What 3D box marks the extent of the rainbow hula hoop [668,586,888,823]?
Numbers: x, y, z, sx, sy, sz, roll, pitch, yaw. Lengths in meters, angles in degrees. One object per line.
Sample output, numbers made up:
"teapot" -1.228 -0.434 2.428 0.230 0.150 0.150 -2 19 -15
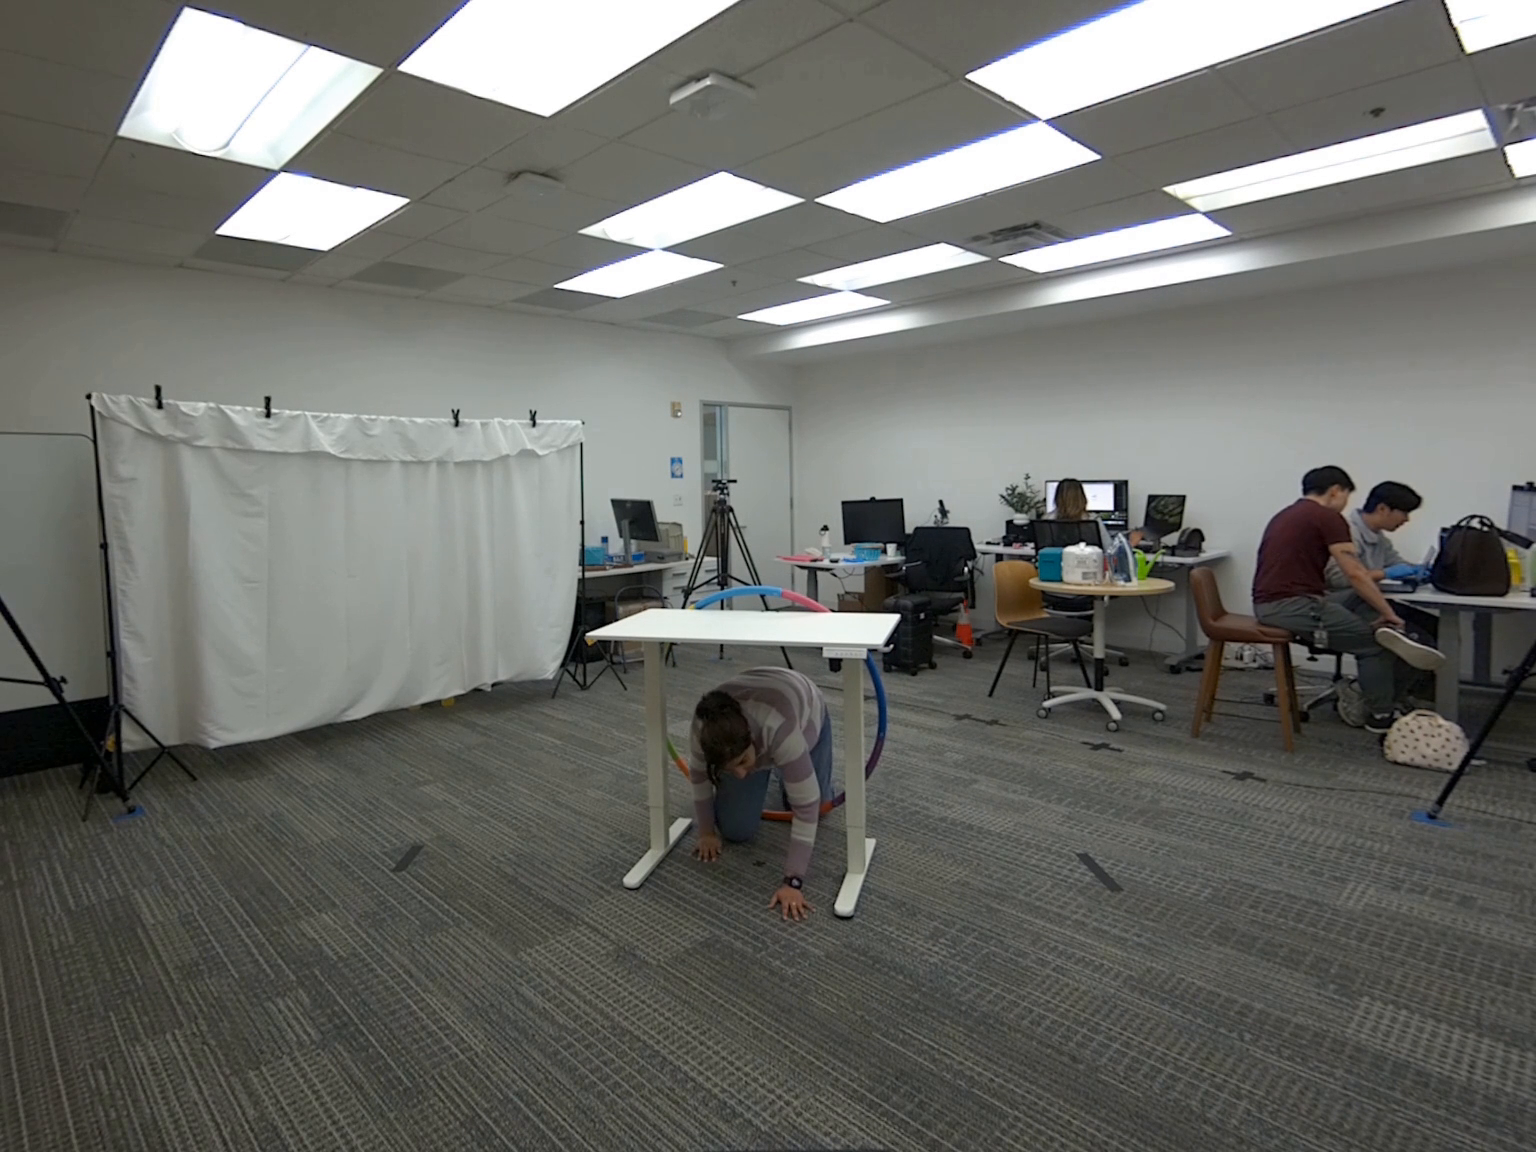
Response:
"rainbow hula hoop" -0.011 0.530 3.443 0.997 0.968 0.035 1 11 19
